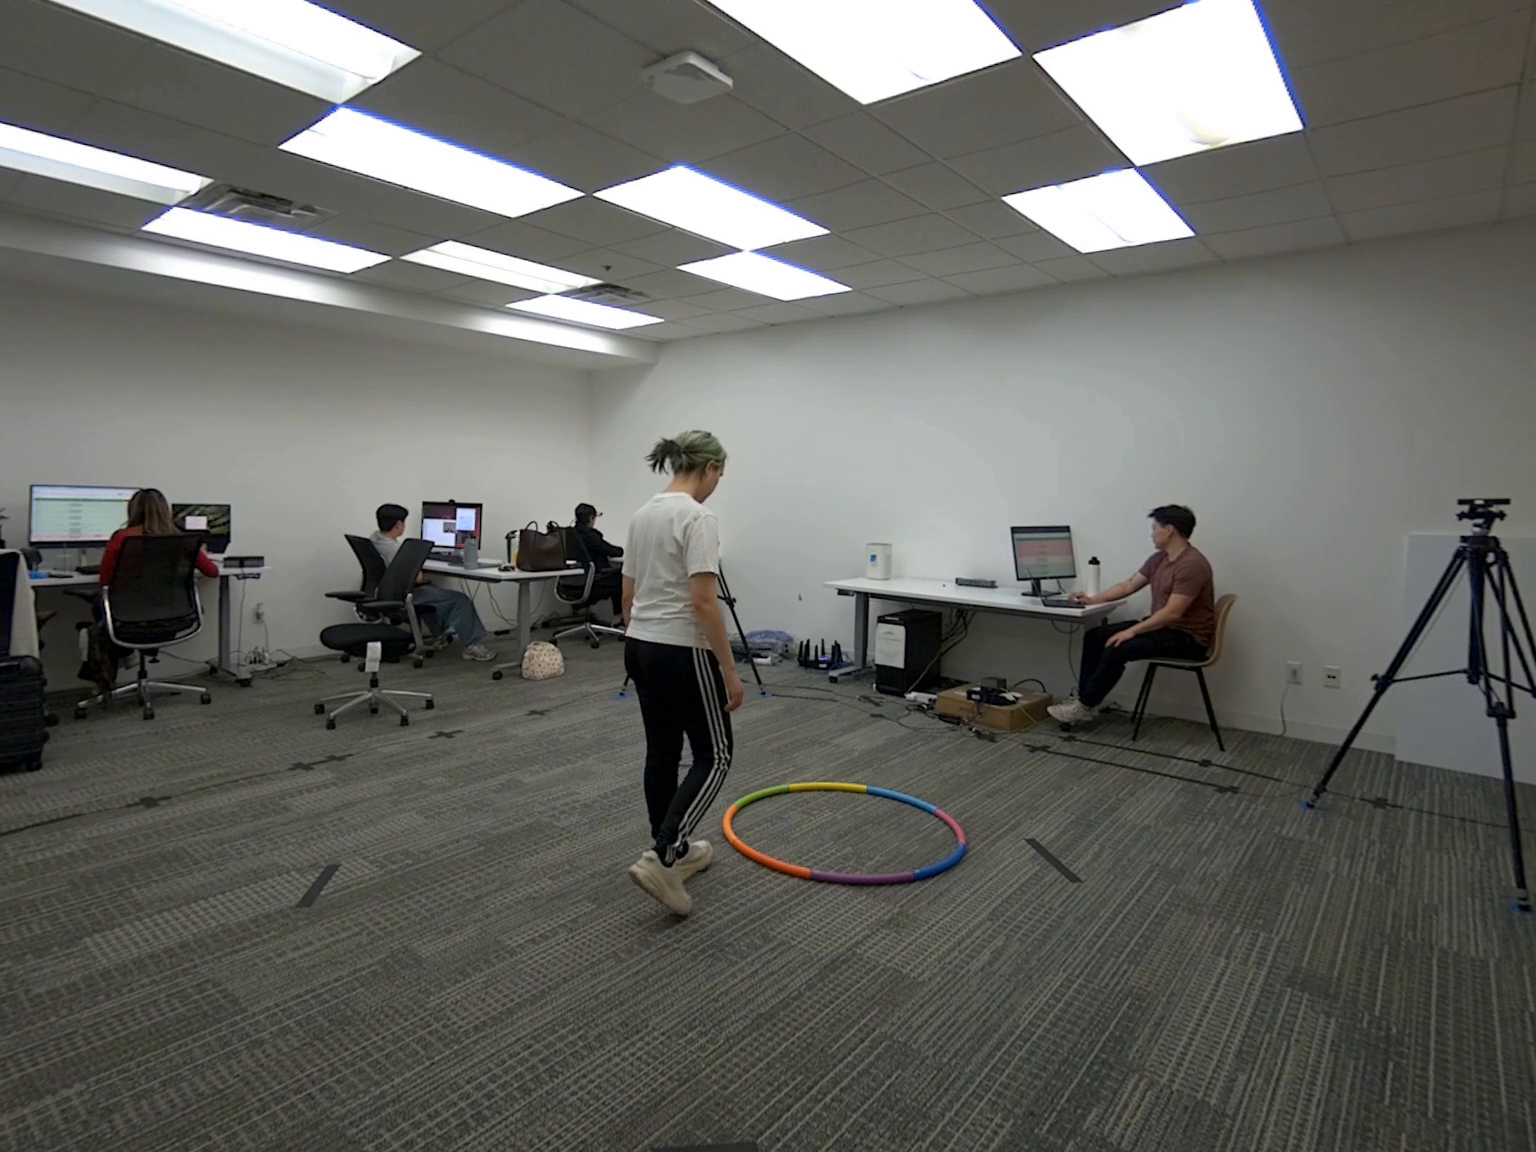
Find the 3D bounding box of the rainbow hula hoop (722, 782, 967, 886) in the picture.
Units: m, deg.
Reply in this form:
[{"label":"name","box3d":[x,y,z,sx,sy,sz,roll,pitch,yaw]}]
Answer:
[{"label":"rainbow hula hoop","box3d":[0.295,1.012,3.489,0.978,0.035,0.984,1,6,-2]}]
